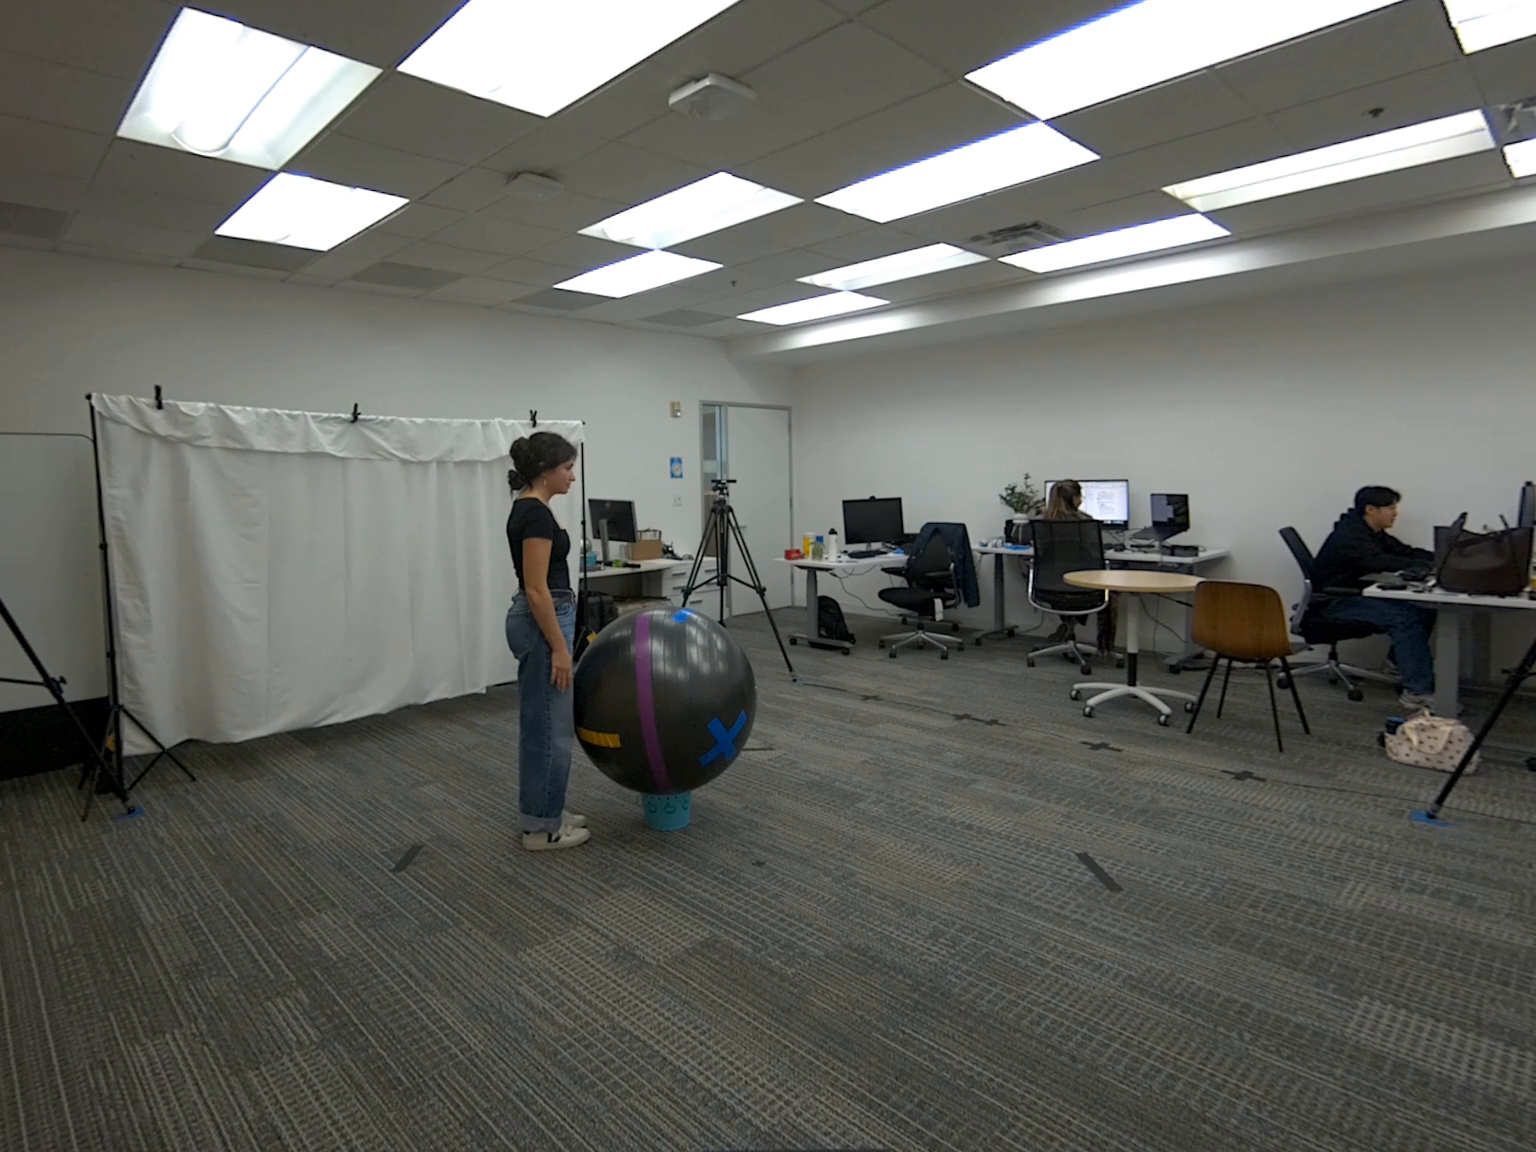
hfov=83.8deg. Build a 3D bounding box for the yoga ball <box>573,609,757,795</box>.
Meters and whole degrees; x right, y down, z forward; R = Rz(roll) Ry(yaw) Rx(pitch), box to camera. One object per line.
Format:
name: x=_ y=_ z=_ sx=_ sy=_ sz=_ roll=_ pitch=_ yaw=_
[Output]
yoga ball: x=-0.420 y=0.503 z=3.495 sx=0.757 sy=0.755 sz=0.762 roll=-1 pitch=5 yaw=-2
